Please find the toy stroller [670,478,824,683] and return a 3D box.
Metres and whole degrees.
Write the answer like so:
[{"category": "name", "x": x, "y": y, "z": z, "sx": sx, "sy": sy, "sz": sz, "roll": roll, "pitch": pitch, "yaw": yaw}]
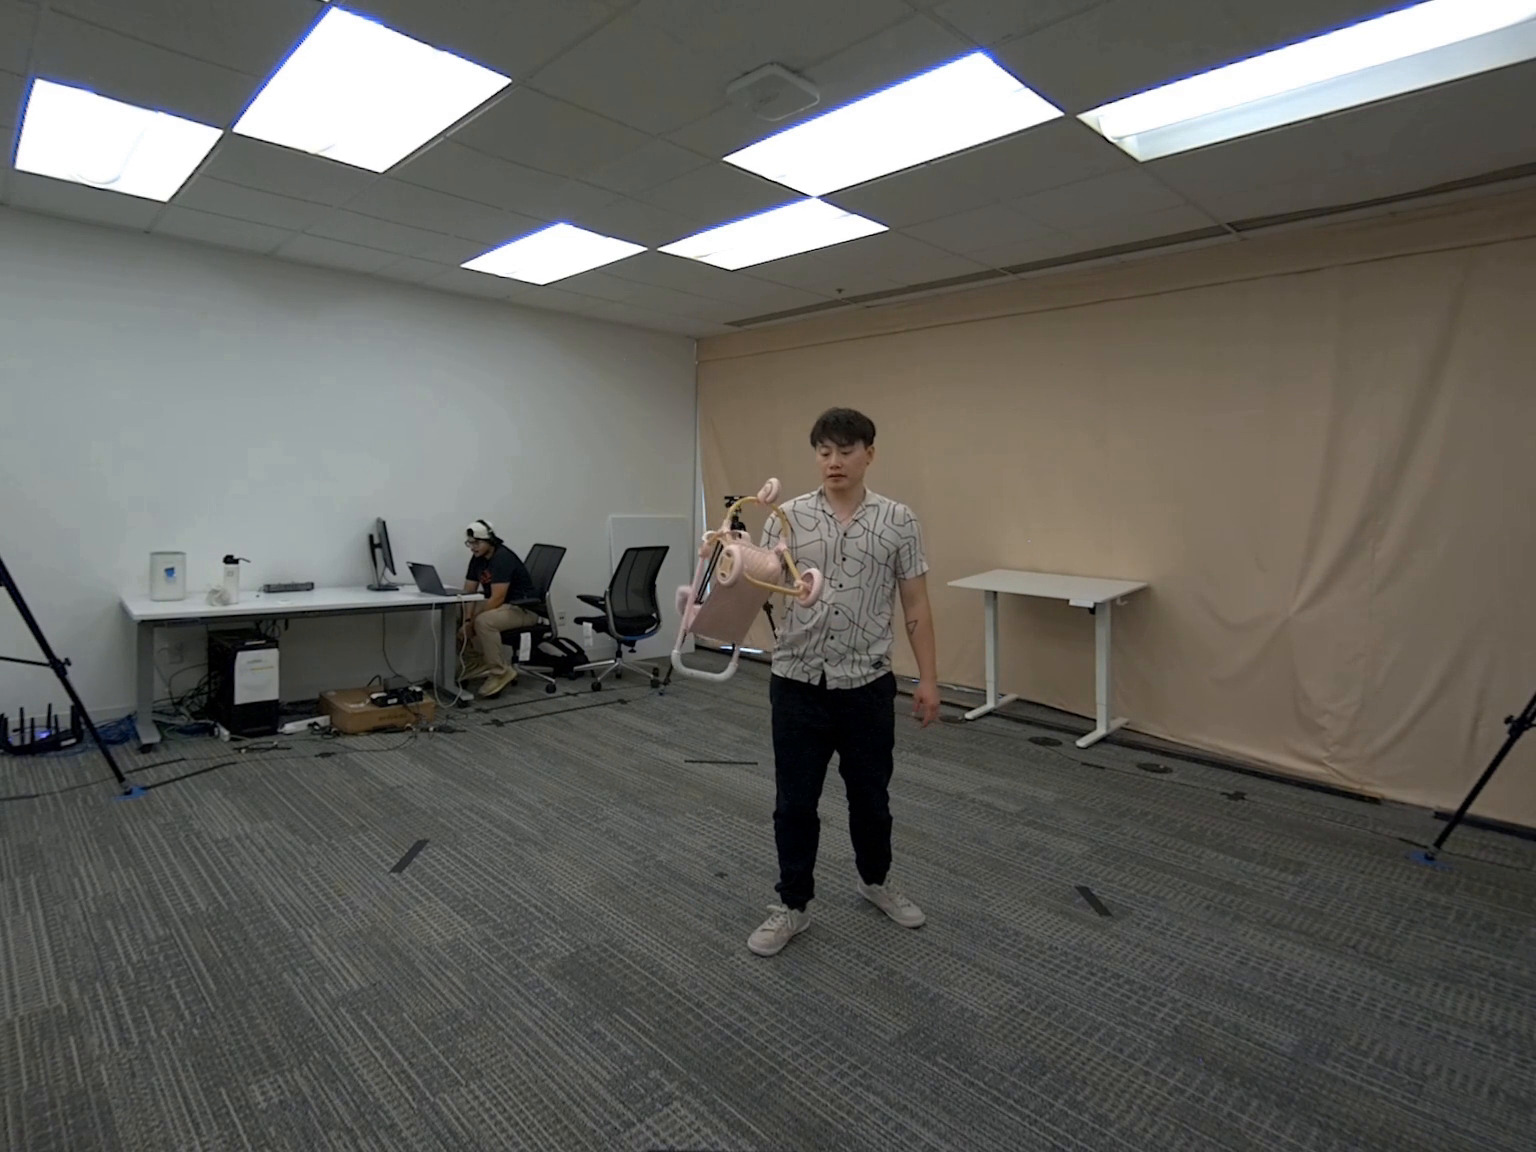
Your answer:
[{"category": "toy stroller", "x": -0.095, "y": 0.015, "z": 2.346, "sx": 0.274, "sy": 0.350, "sz": 0.534, "roll": 11, "pitch": -44, "yaw": -33}]
